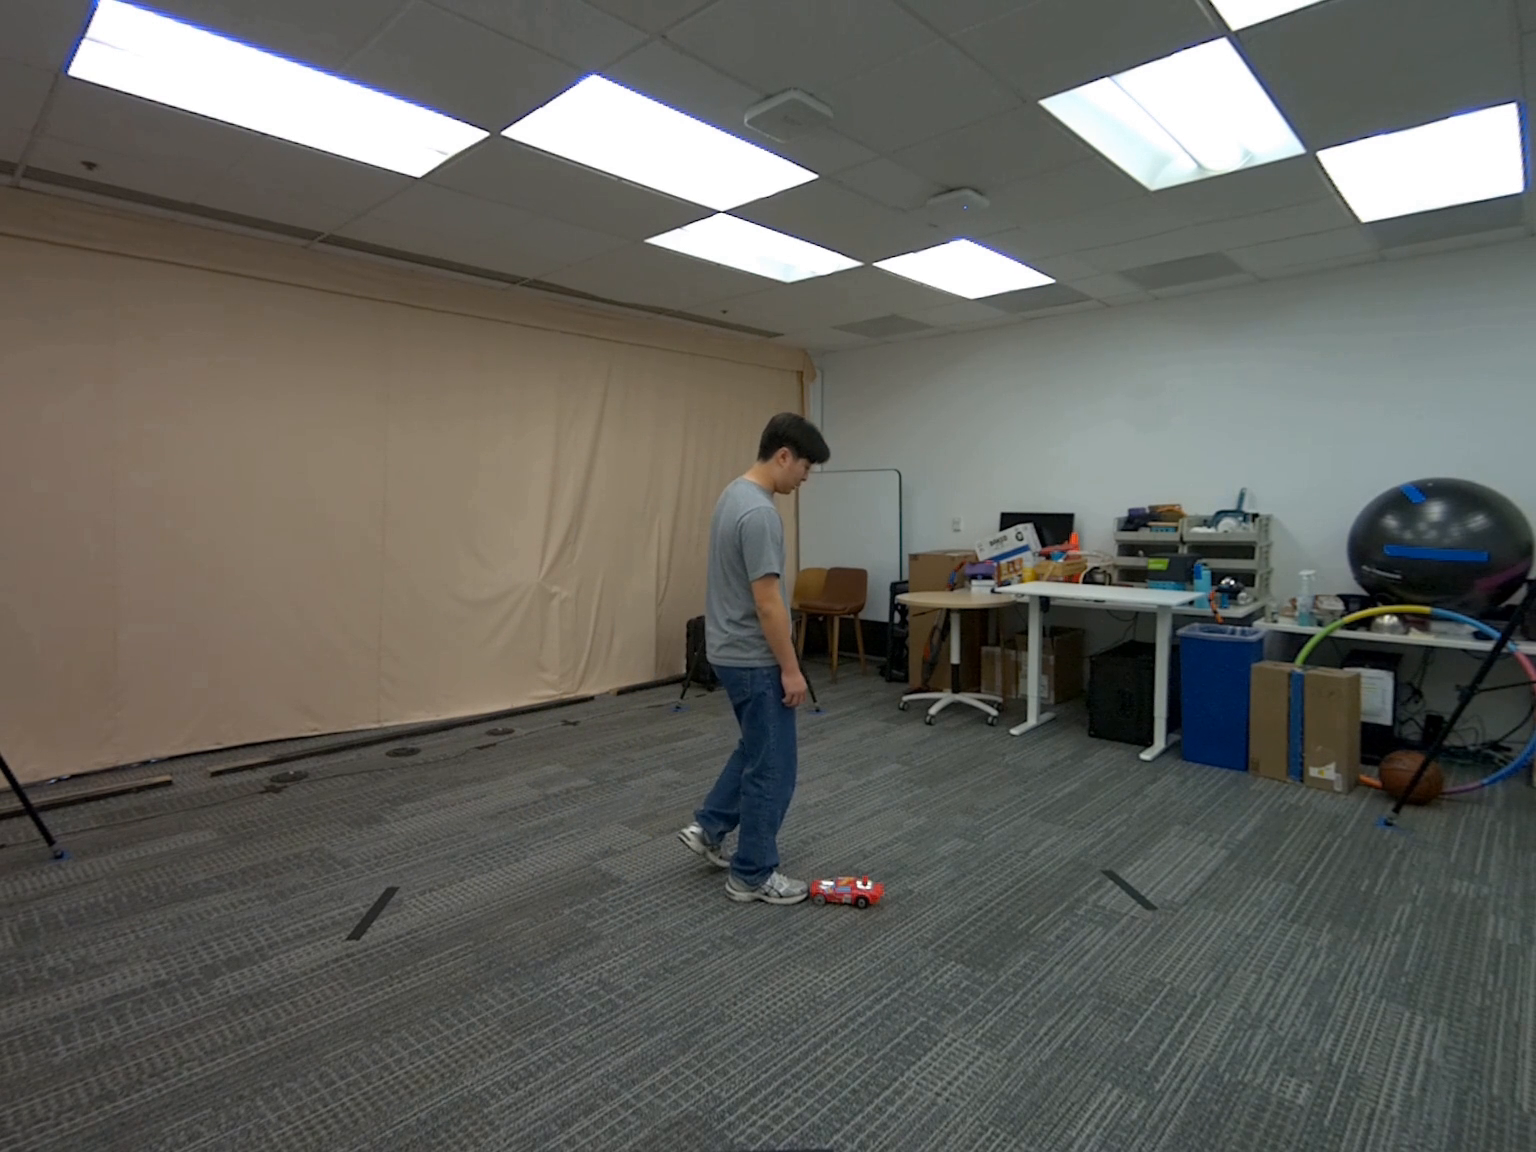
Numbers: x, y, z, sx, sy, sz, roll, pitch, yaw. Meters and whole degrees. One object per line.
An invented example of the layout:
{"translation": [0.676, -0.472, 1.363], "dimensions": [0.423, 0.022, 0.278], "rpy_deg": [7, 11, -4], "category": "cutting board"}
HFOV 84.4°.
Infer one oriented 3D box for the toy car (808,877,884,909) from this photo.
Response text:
{"translation": [0.290, 1.115, 2.954], "dimensions": [0.257, 0.083, 0.129], "rpy_deg": [-12, 2, 8], "category": "toy car"}
